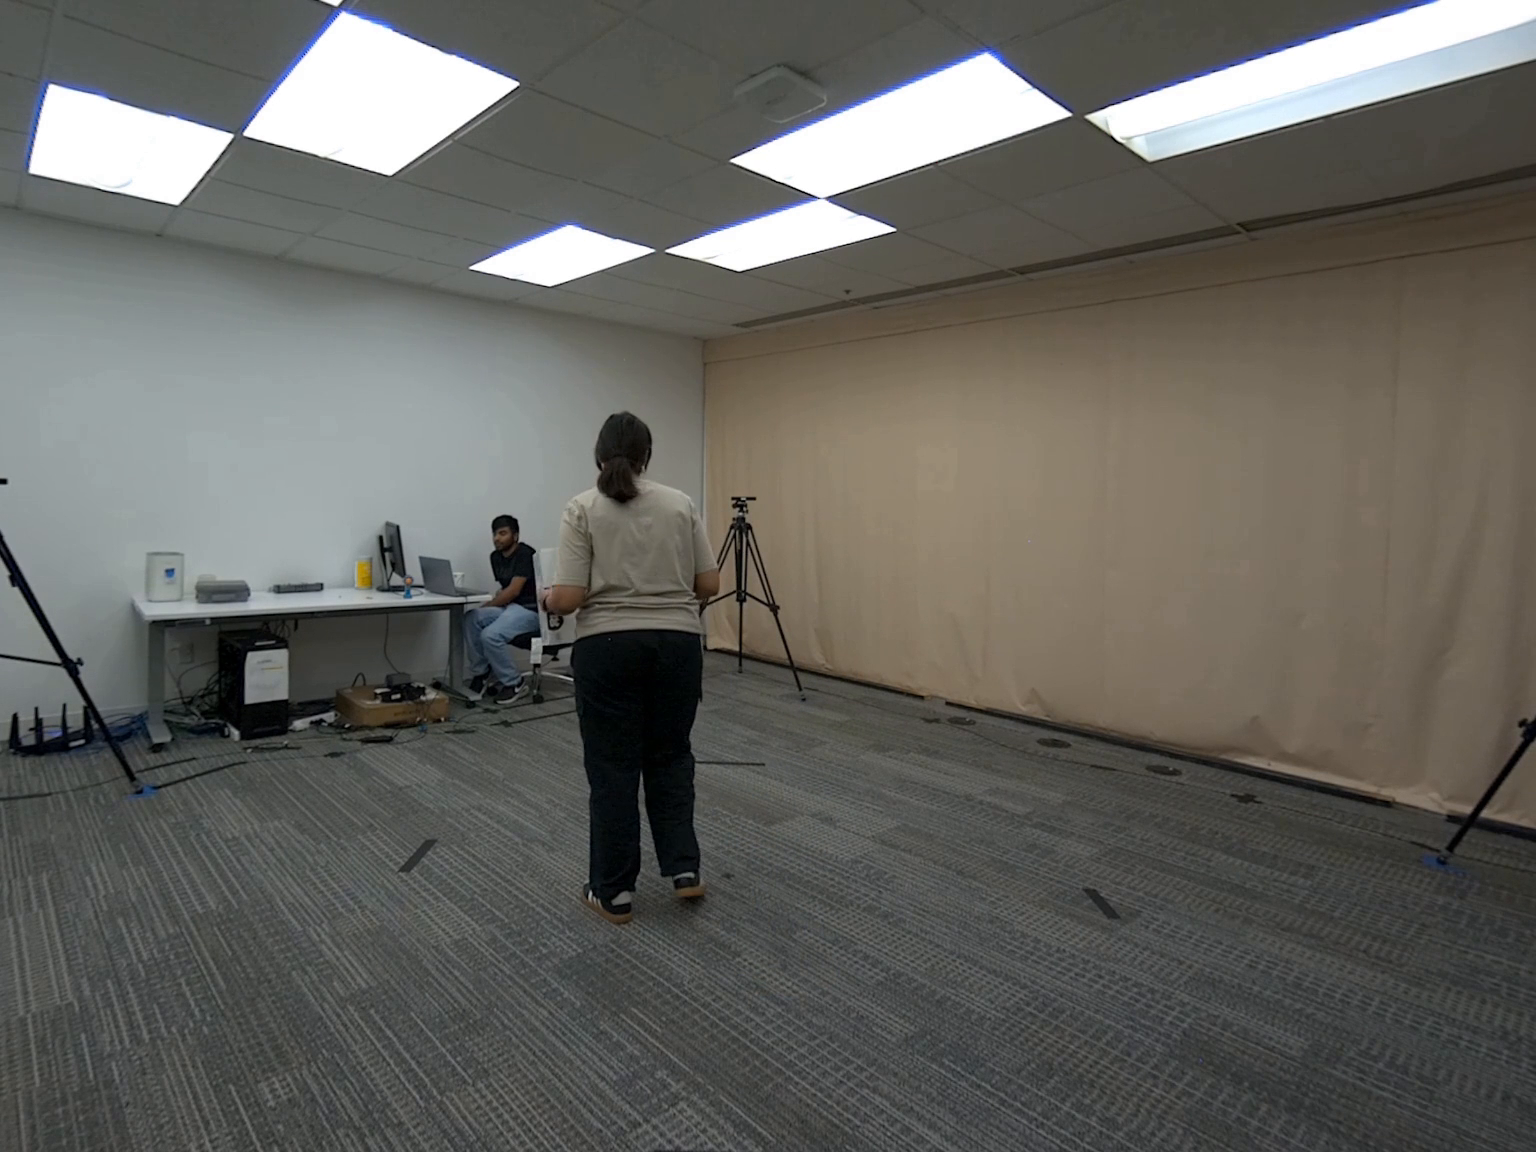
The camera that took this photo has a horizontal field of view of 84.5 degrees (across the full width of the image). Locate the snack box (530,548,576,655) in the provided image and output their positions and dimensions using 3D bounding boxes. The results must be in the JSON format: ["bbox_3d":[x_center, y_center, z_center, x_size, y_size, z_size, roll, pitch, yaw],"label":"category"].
[{"bbox_3d":[-0.639,0.065,3.105,0.399,0.342,0.208,-5,-5,-20],"label":"snack box"}]
